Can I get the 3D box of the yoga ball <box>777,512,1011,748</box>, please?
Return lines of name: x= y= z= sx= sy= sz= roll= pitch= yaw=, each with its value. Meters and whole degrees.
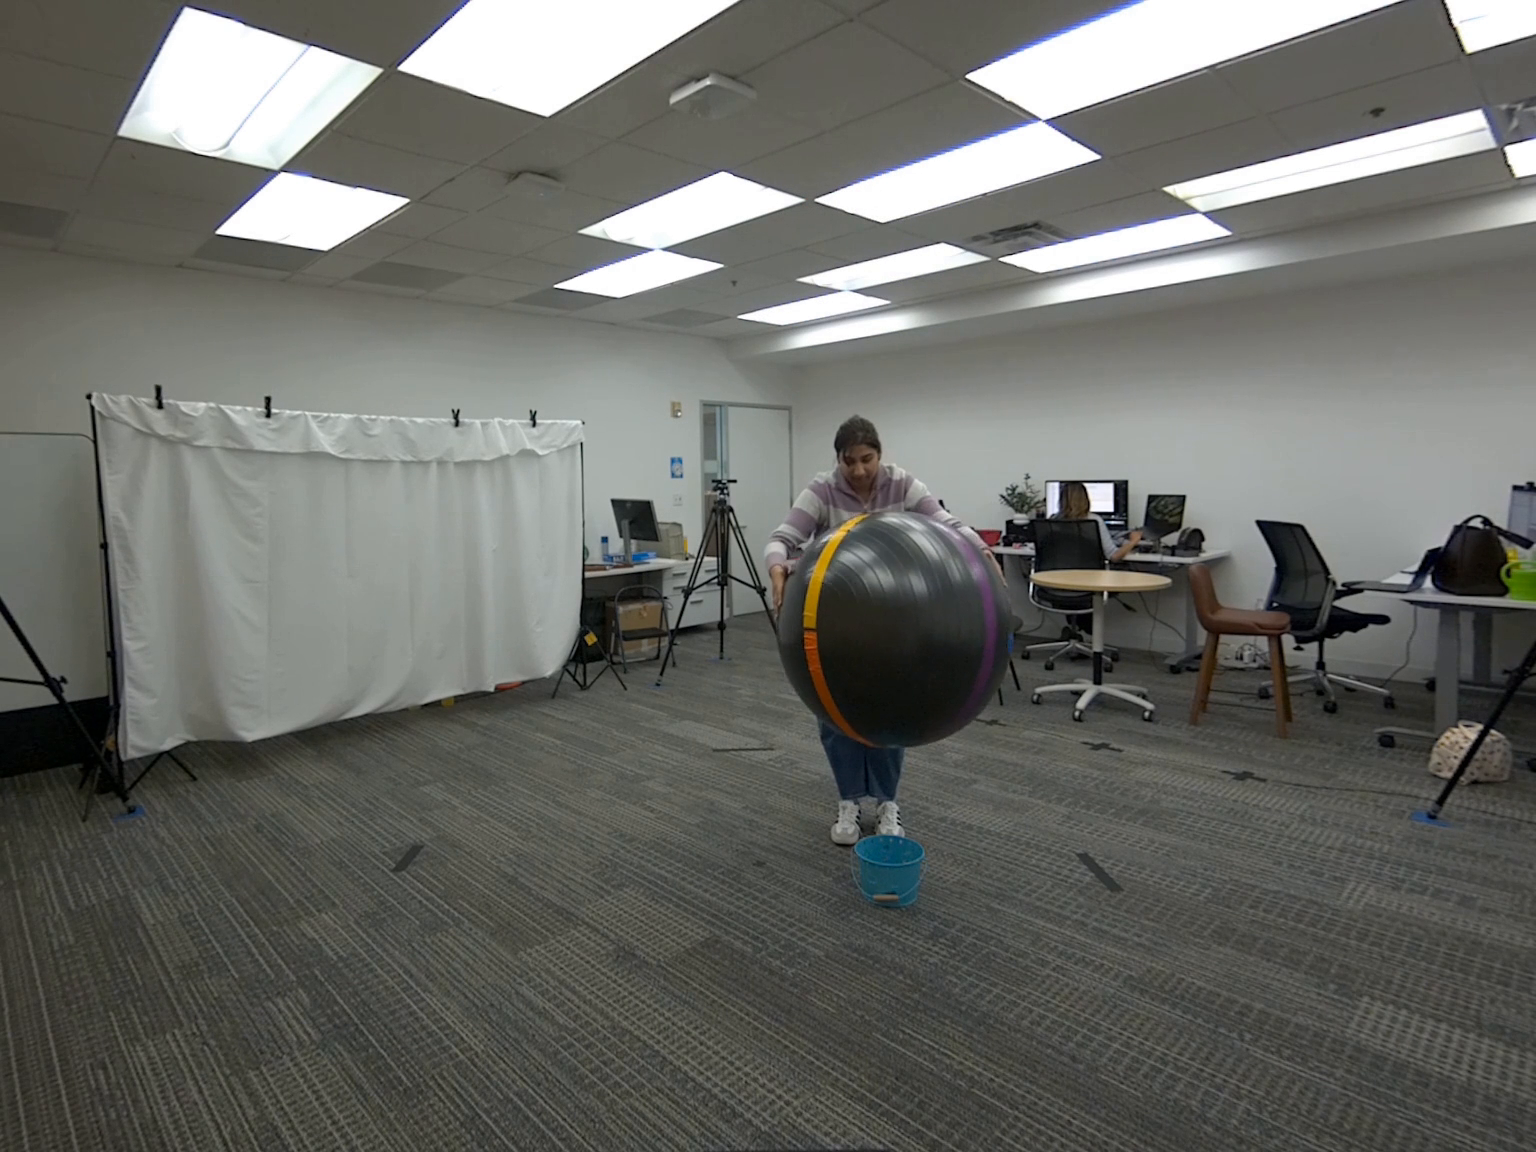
yoga ball: x=0.401 y=0.174 z=2.777 sx=0.757 sy=0.755 sz=0.762 roll=-1 pitch=5 yaw=-2
